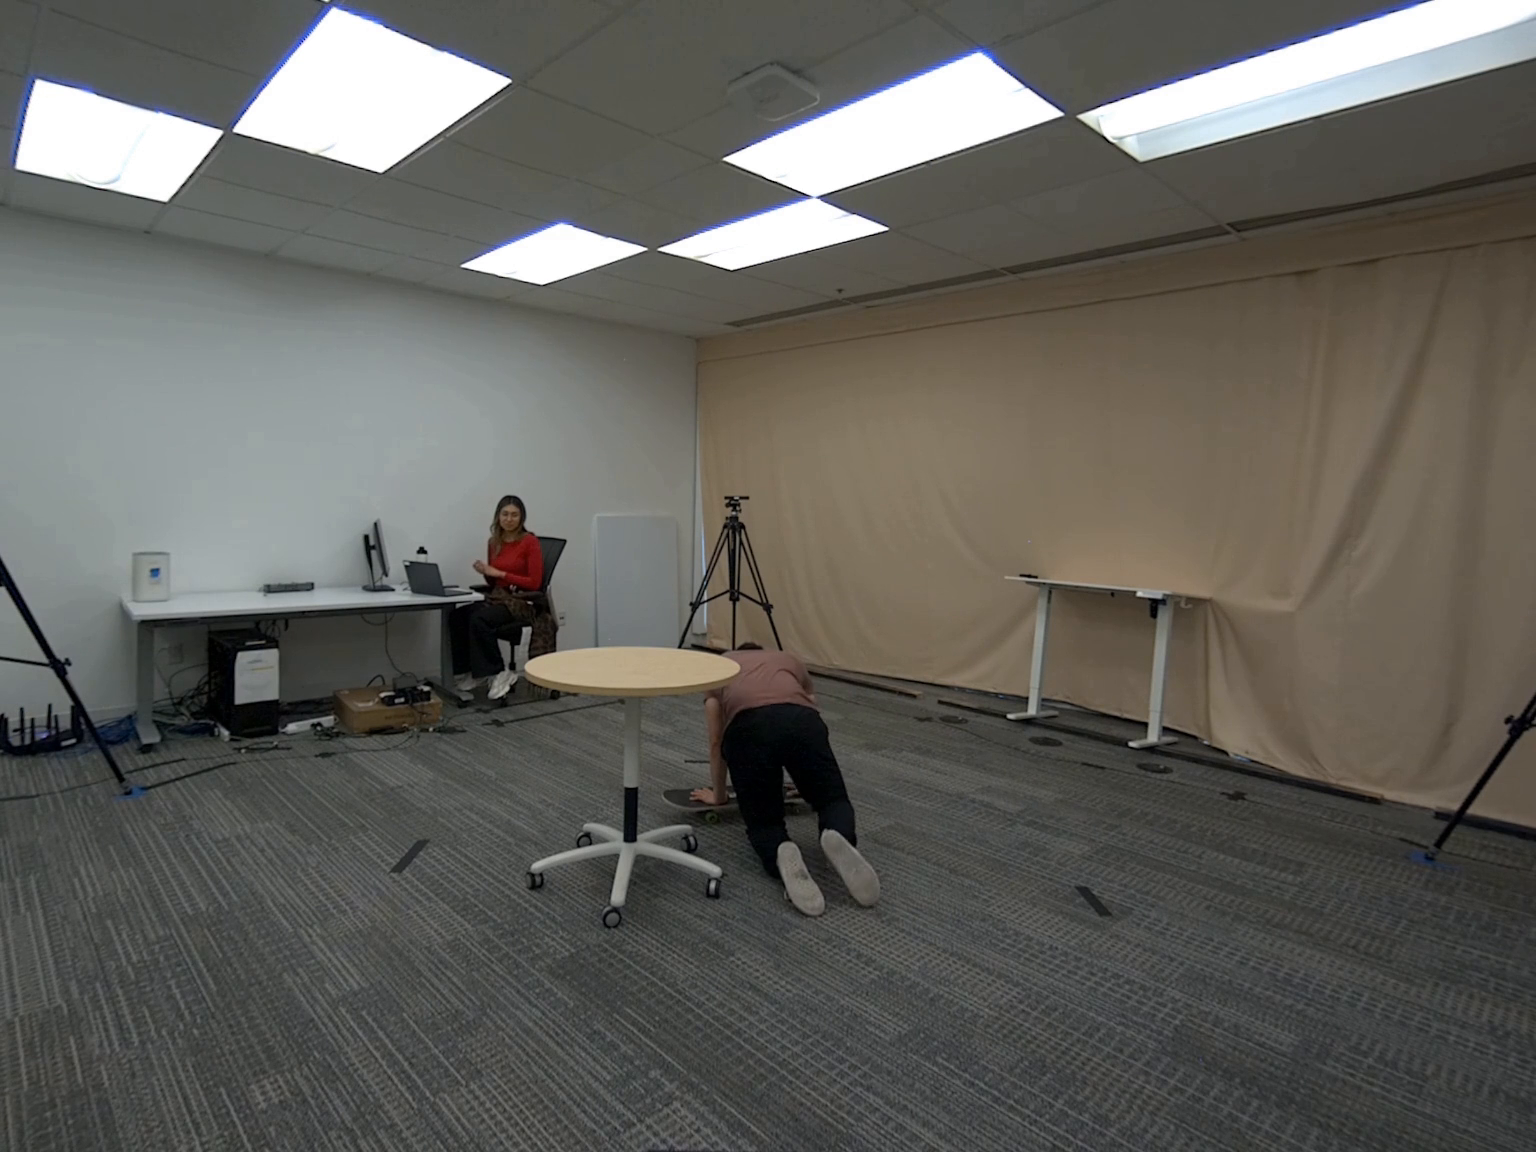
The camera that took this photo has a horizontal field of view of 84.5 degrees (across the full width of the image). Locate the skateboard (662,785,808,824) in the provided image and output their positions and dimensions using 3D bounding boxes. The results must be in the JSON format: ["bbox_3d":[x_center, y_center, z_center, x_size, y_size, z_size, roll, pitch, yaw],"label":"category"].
[{"bbox_3d":[-0.088,0.996,3.726,0.775,0.110,0.197,1,8,-16],"label":"skateboard"}]
